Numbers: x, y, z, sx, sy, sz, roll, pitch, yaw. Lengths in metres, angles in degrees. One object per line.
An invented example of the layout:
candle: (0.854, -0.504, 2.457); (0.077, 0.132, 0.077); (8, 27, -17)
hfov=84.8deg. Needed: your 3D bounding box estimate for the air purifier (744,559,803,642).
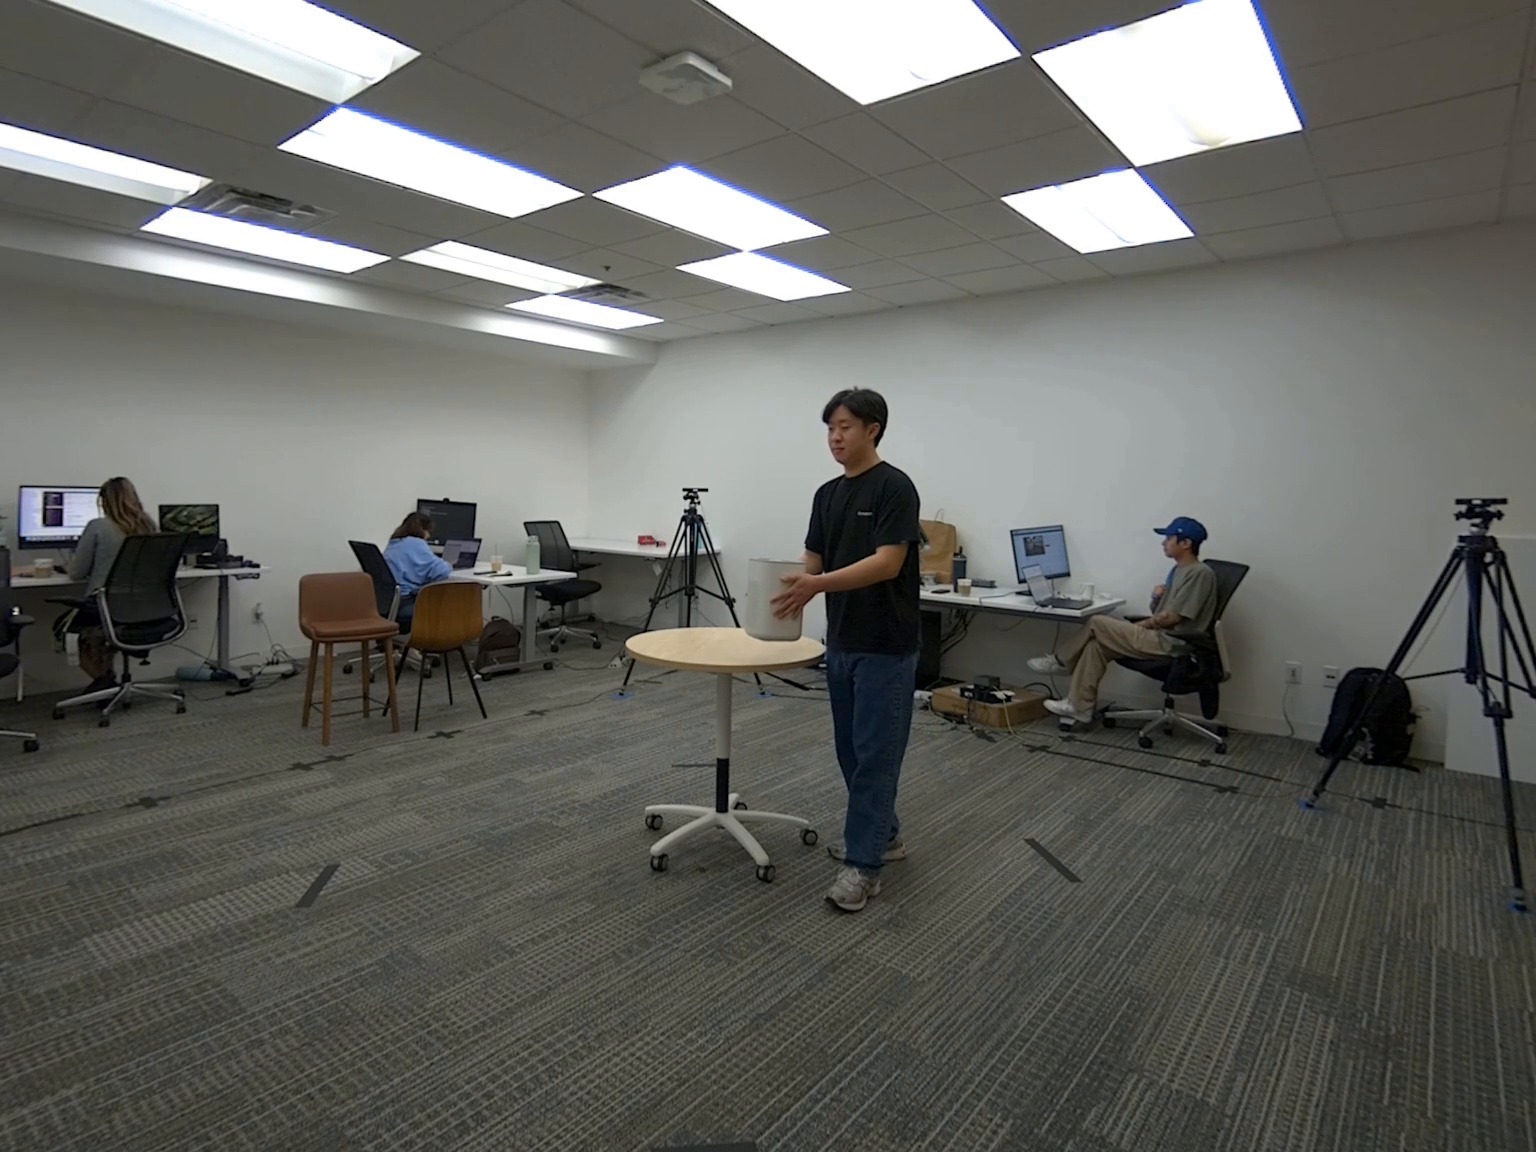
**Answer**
air purifier: (0.011, 0.076, 2.856); (0.167, 0.265, 0.175); (3, 2, -21)
